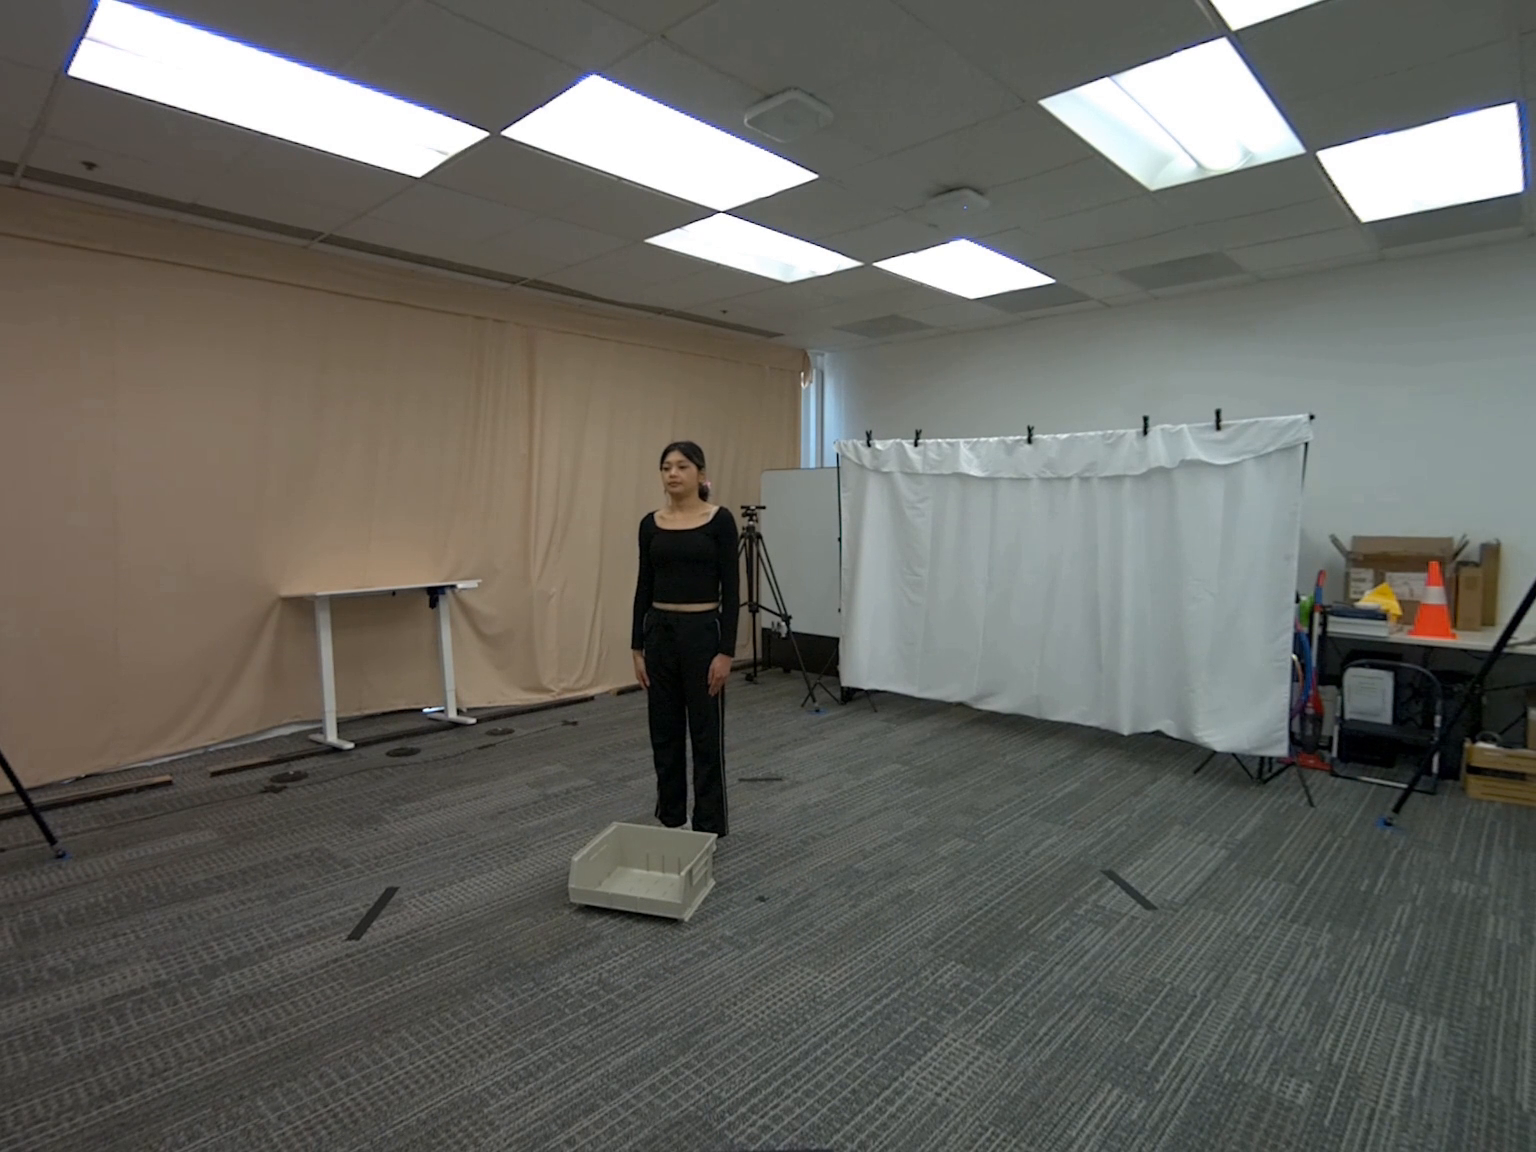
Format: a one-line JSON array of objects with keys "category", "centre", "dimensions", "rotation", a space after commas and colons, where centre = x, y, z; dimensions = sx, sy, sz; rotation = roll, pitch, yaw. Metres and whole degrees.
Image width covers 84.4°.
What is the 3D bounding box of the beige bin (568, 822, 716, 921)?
[{"category": "beige bin", "centre": [-0.441, 1.058, 3.001], "dimensions": [0.430, 0.189, 0.371], "rotation": [0, 3, 16]}]
